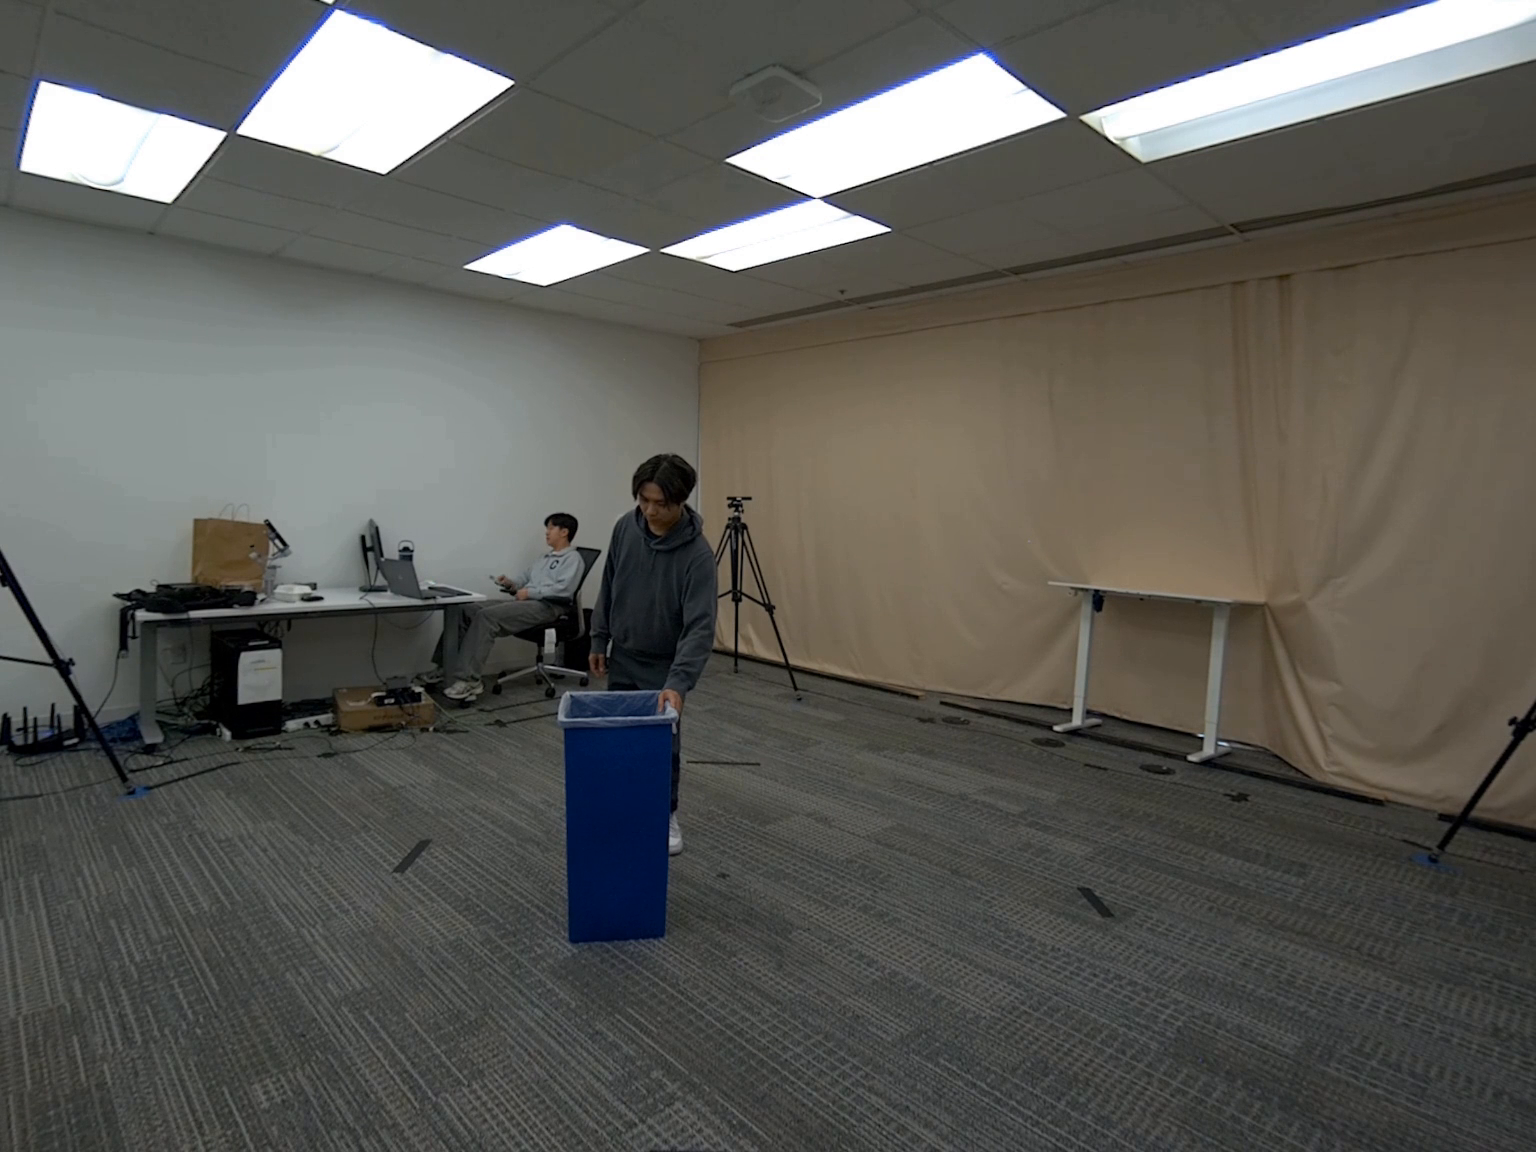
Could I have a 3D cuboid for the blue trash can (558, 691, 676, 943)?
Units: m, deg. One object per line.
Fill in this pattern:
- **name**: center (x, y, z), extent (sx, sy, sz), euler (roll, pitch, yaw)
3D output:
- **blue trash can**: center (-0.507, 0.777, 2.755), extent (0.371, 0.712, 0.382), euler (1, 4, -10)
